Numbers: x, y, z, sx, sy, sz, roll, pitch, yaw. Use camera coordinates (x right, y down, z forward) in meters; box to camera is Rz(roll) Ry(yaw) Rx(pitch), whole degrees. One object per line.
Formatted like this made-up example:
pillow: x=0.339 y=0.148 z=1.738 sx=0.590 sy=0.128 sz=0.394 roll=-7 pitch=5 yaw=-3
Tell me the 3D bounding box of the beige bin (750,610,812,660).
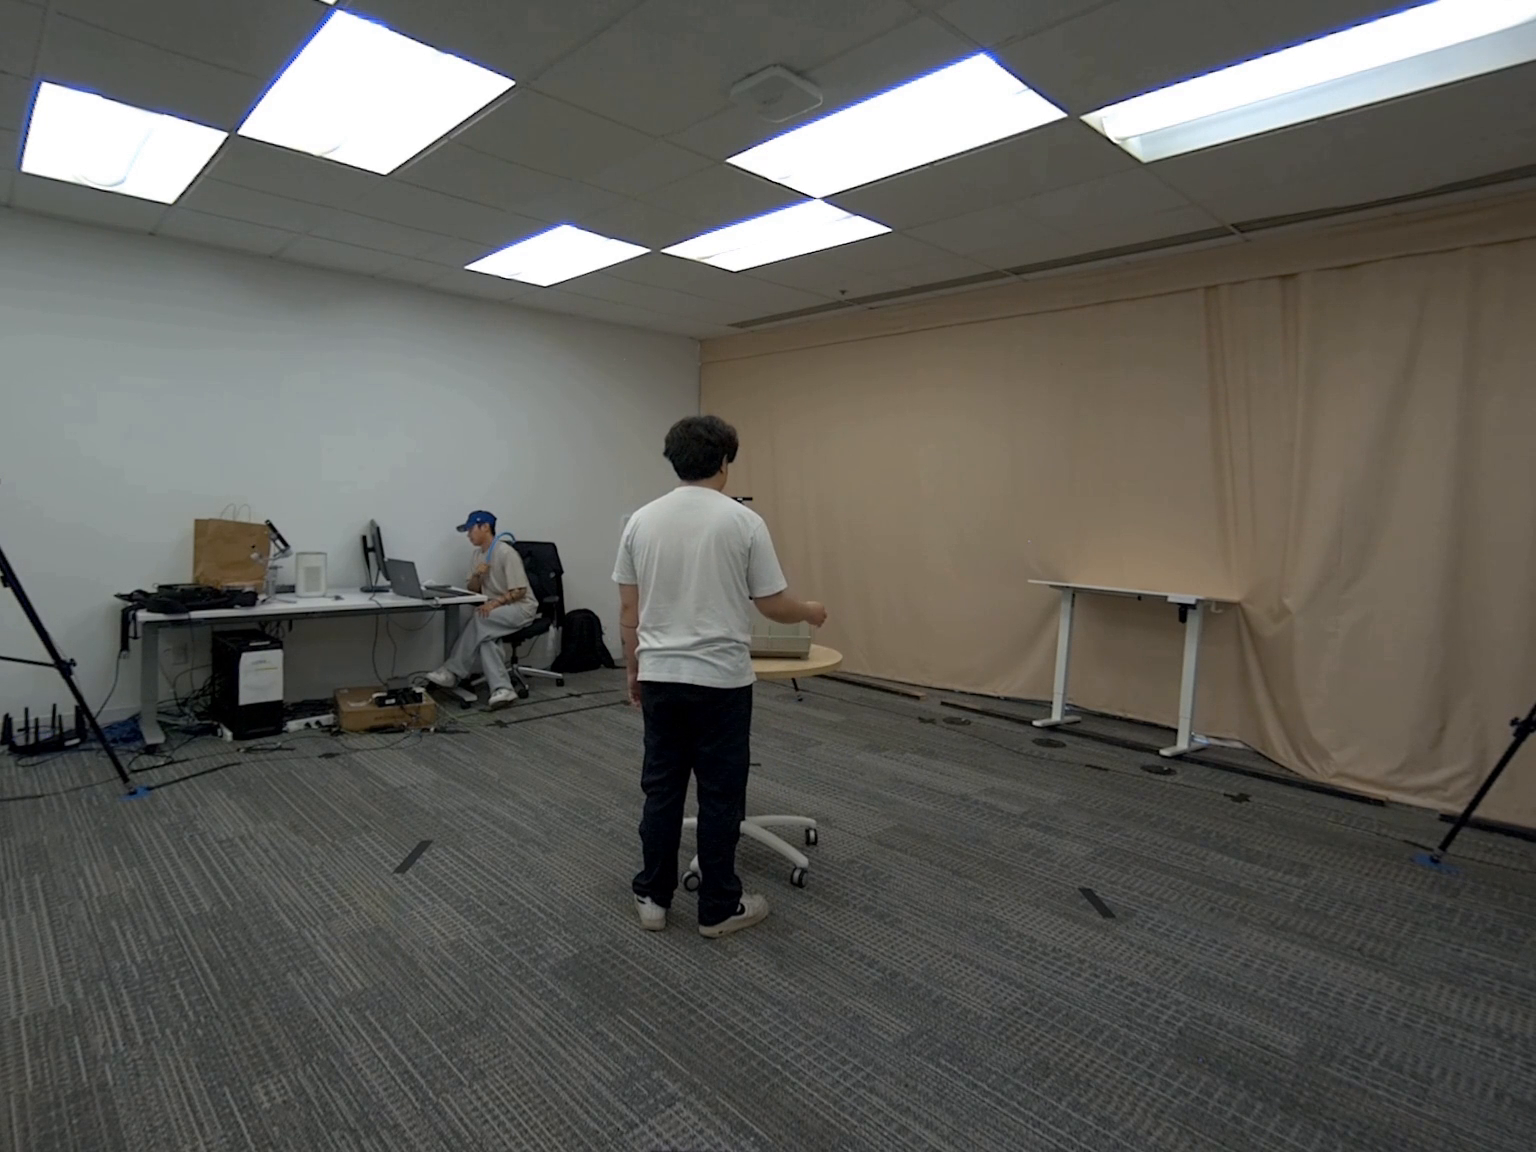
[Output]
beige bin: x=-0.053 y=0.221 z=3.271 sx=0.423 sy=0.188 sz=0.378 roll=1 pitch=3 yaw=0
